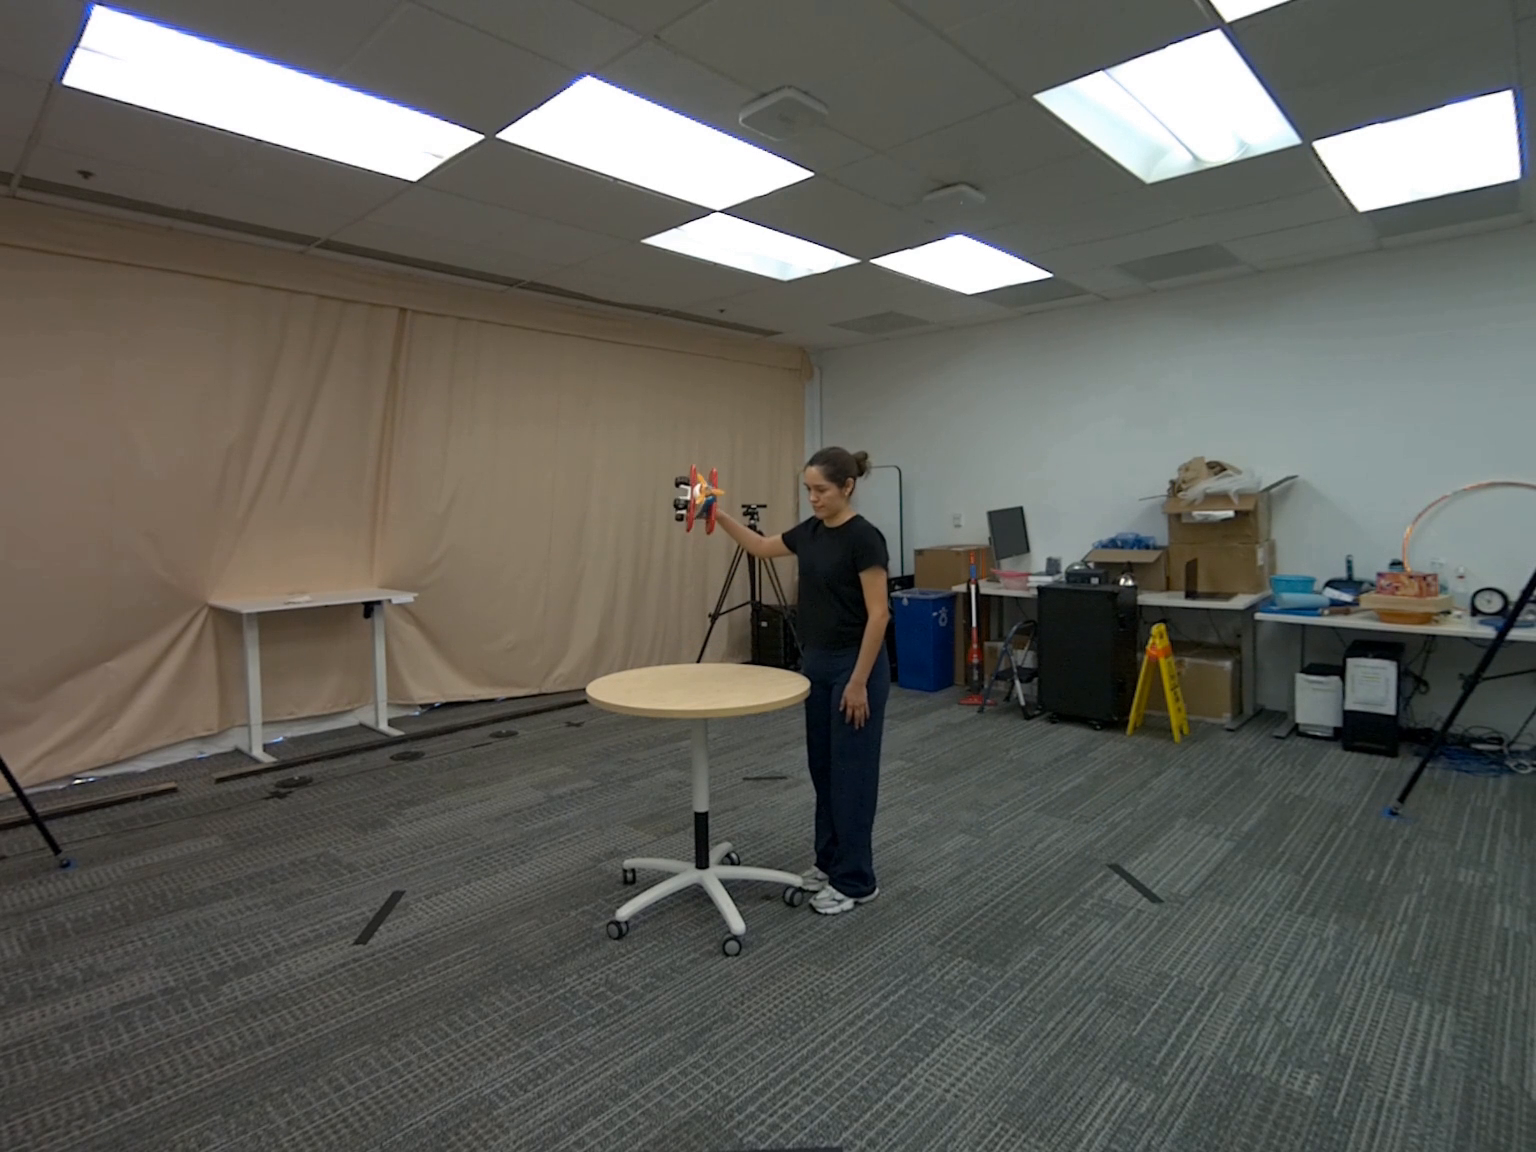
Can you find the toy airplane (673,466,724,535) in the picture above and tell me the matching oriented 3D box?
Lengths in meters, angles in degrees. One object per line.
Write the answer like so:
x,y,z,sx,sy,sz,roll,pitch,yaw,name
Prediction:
-0.247,-0.267,3.114,0.156,0.250,0.260,3,6,-3,toy airplane
